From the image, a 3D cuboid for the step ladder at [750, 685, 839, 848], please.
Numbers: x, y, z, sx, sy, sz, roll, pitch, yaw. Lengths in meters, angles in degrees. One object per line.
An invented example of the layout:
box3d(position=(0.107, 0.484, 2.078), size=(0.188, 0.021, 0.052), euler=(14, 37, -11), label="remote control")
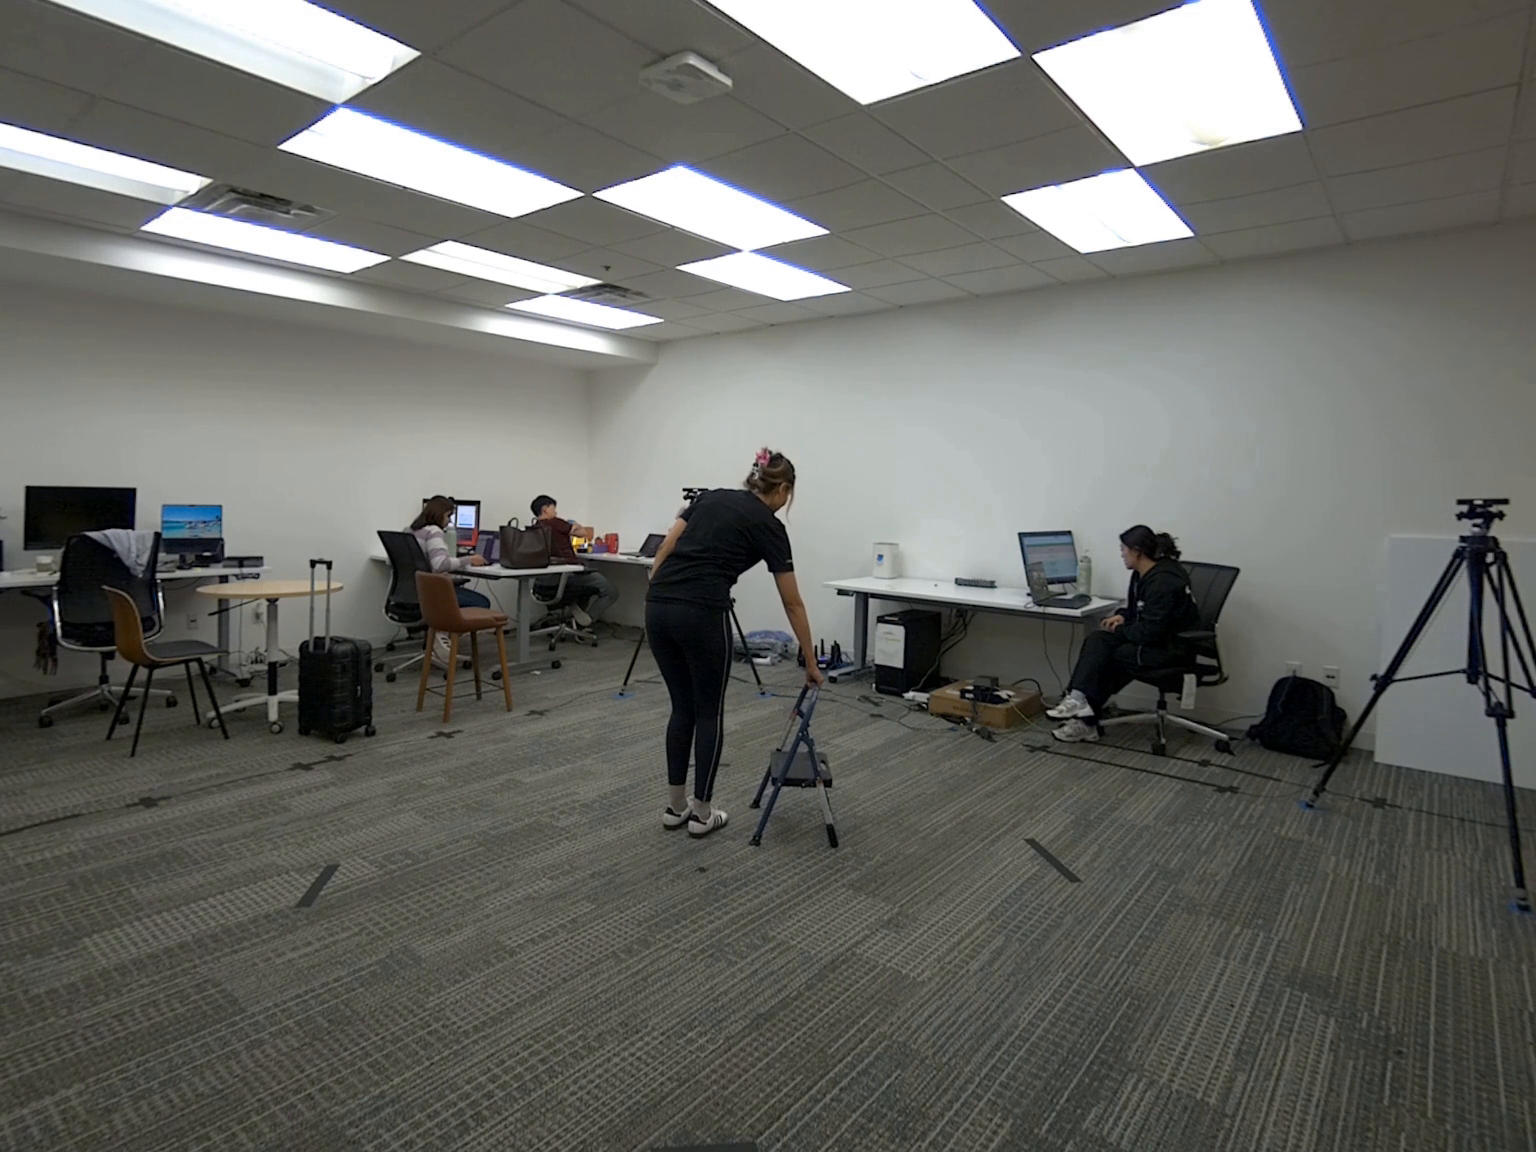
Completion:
box3d(position=(0.100, 0.737, 3.516), size=(0.349, 0.604, 0.432), euler=(0, 3, 0), label="step ladder")
